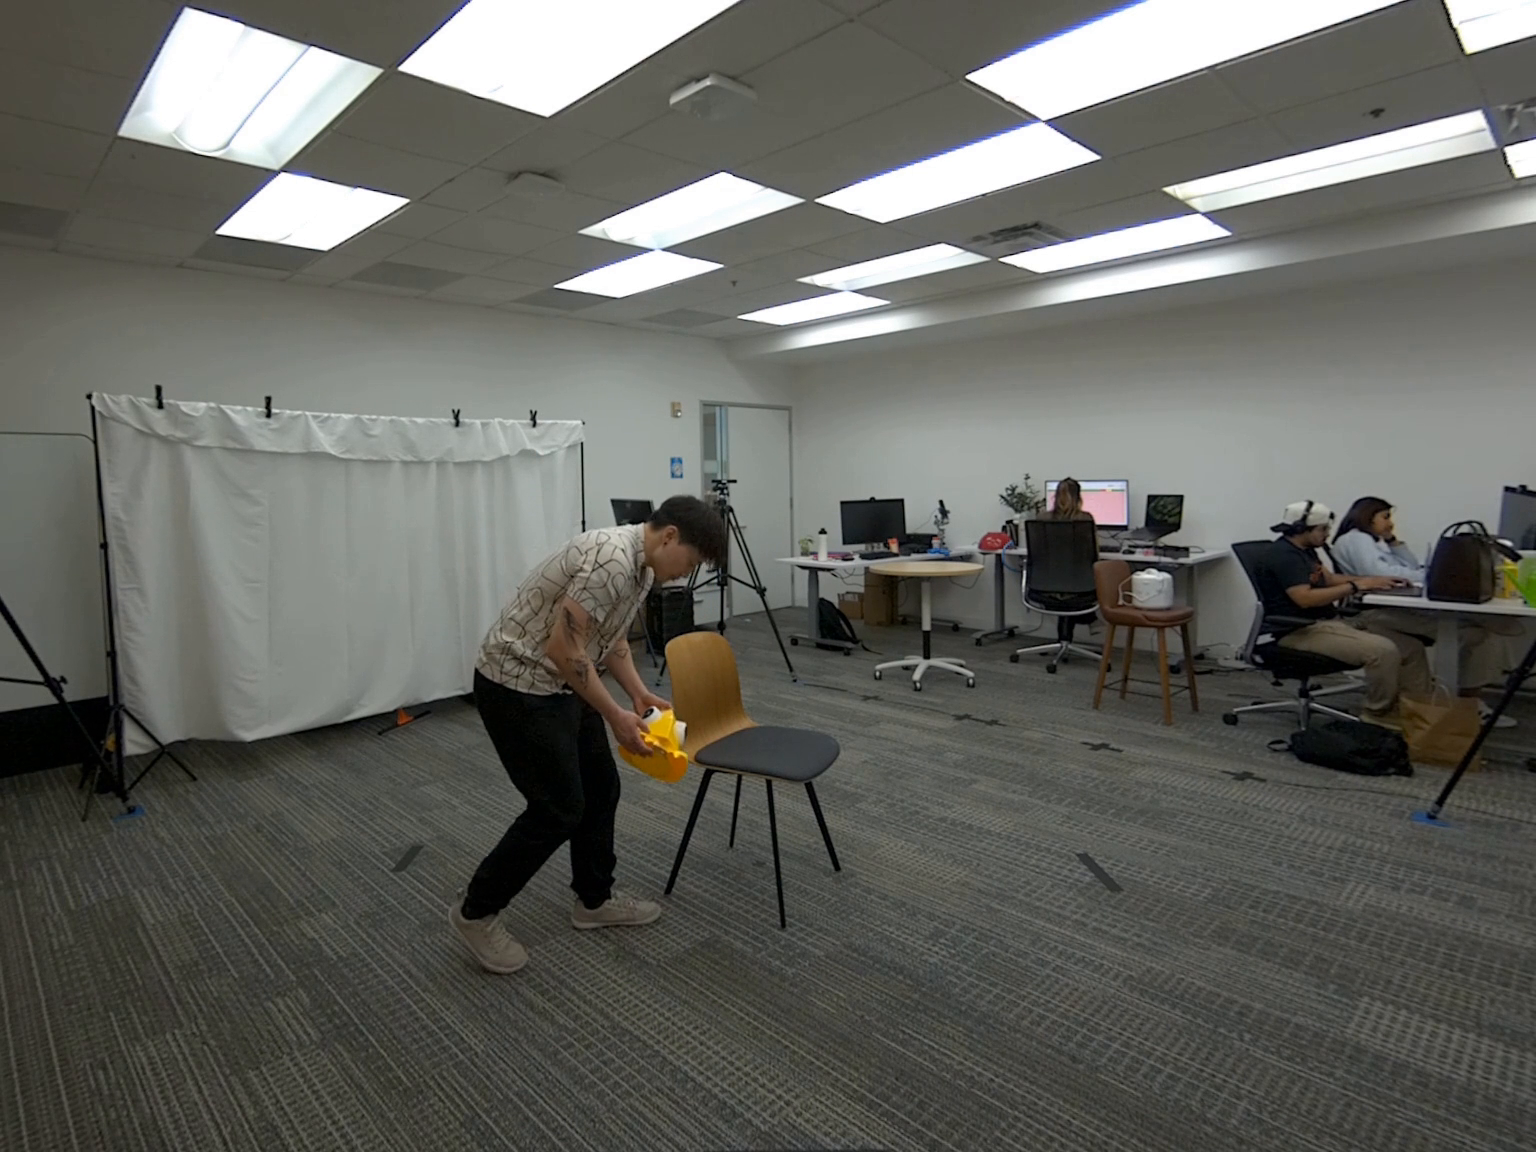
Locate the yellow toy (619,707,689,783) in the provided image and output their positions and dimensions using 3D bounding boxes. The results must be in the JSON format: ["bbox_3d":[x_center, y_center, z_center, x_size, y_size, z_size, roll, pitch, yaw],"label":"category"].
[{"bbox_3d":[-0.320,0.463,2.537,0.203,0.192,0.234,29,42,-7],"label":"yellow toy"}]
